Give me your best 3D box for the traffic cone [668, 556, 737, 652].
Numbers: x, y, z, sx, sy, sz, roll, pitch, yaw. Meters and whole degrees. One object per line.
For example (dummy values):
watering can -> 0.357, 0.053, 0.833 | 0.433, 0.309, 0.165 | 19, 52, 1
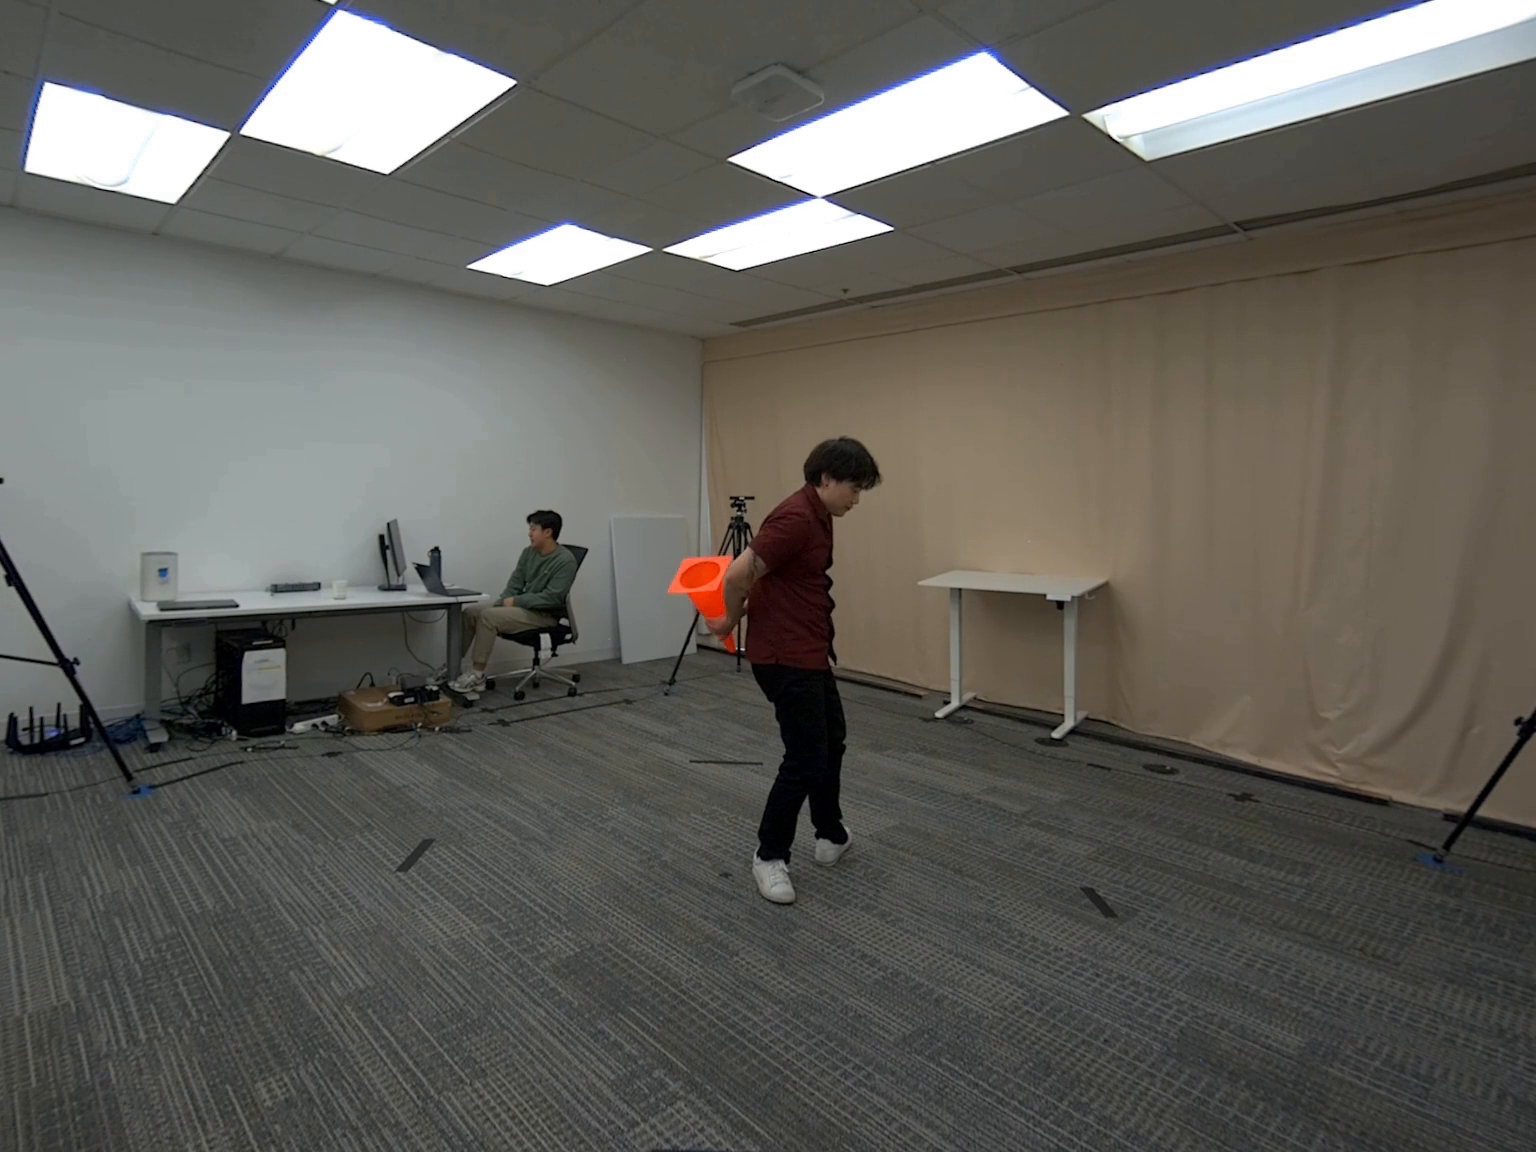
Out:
traffic cone -> -0.199, 0.147, 3.124 | 0.208, 0.373, 0.205 | -2, 37, 23
